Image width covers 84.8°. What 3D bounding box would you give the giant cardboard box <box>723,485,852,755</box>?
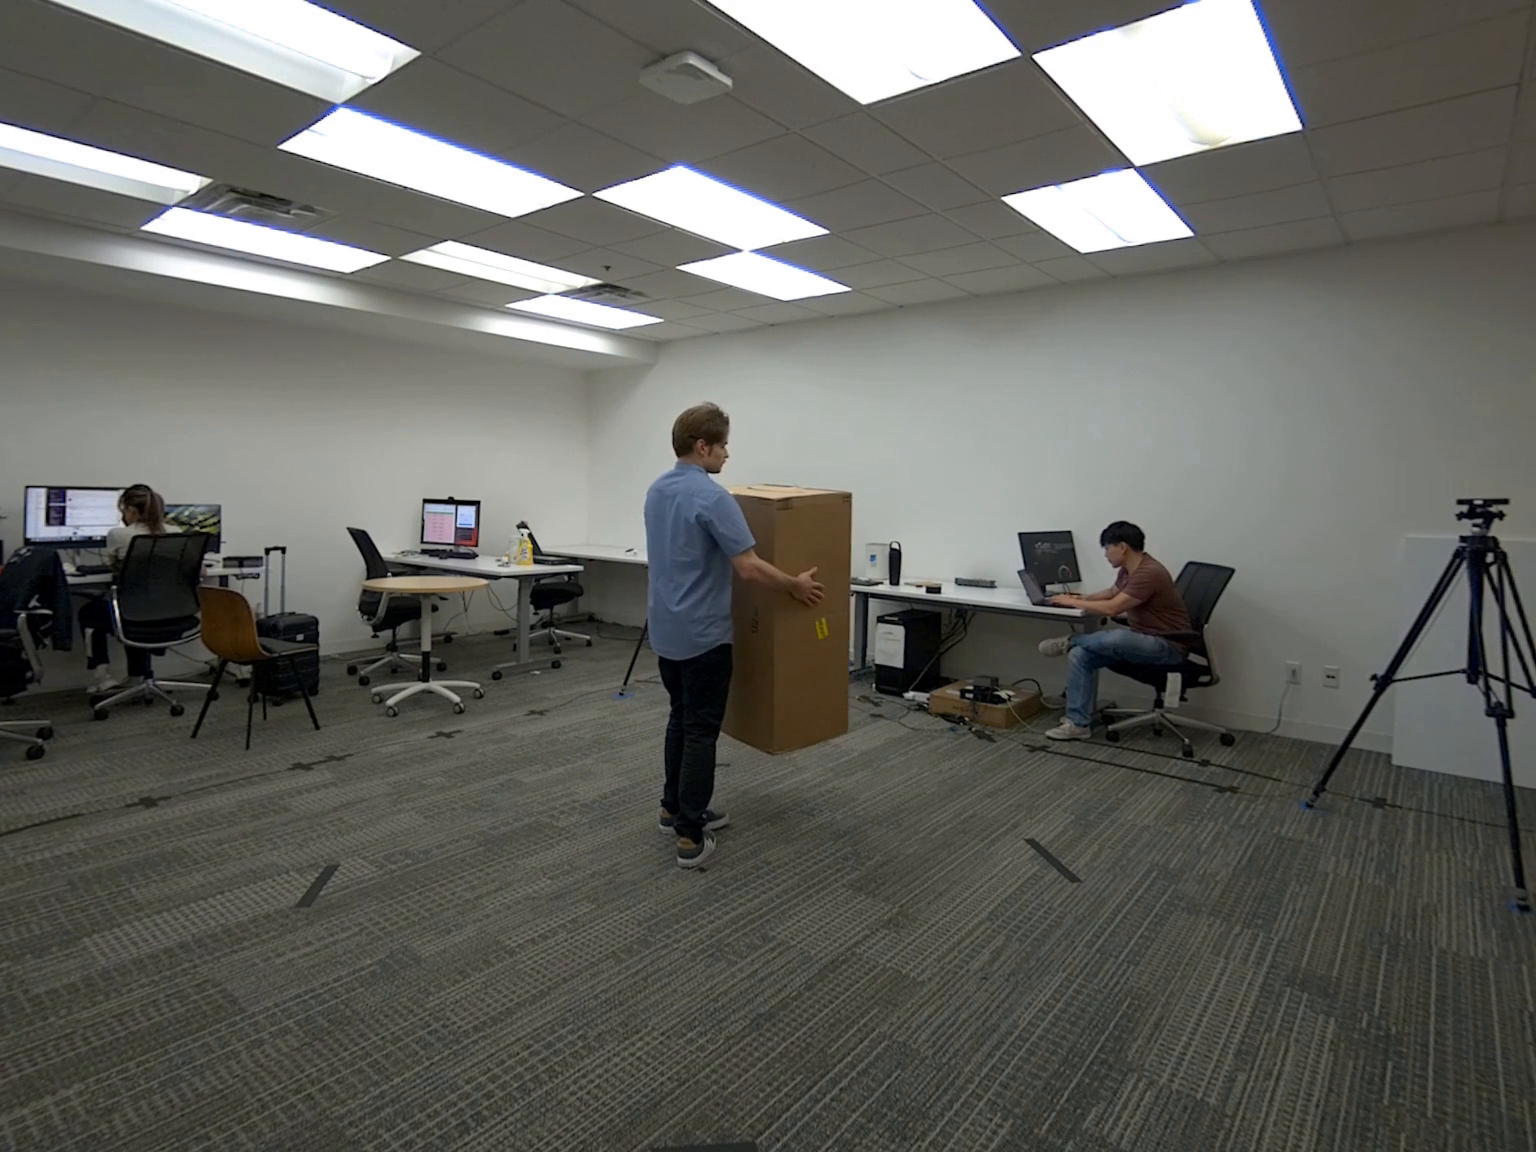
[{"bbox_3d":[-0.006,0.142,3.621,0.415,1.018,0.598,-6,10,-37],"label":"giant cardboard box"}]
